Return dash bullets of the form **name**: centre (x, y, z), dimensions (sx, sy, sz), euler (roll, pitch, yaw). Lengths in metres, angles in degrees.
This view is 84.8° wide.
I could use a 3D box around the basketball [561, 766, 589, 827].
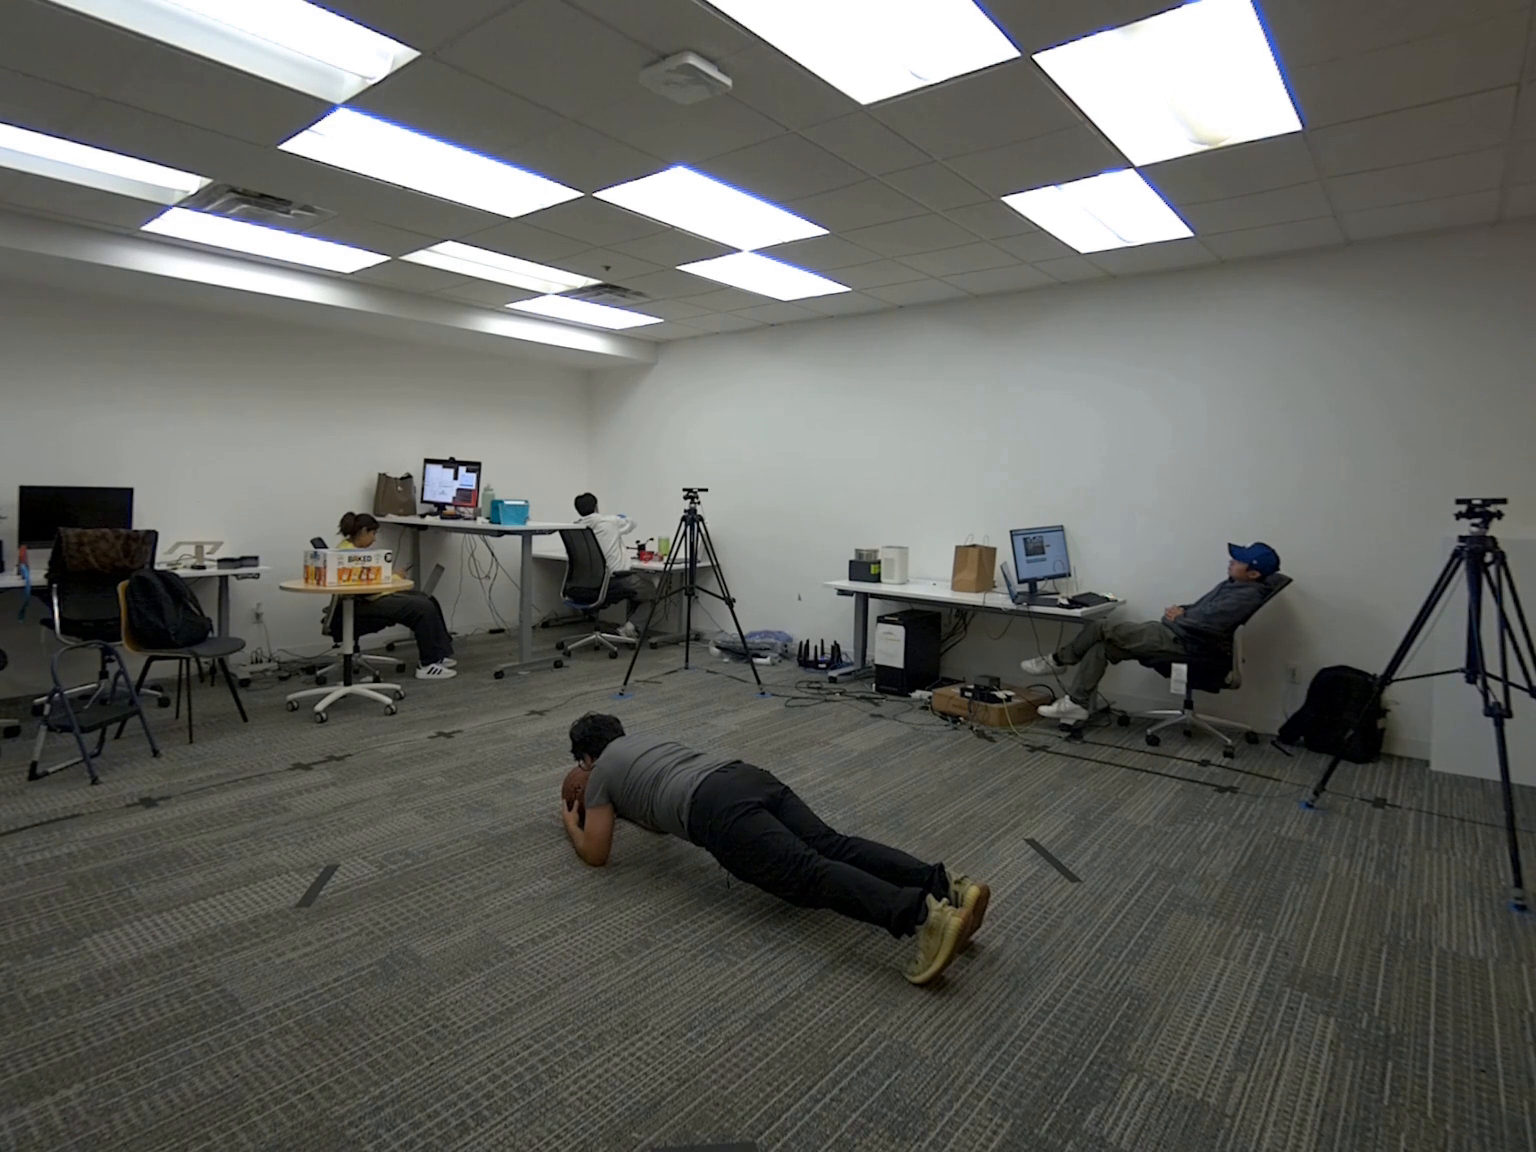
- **basketball**: centre (-0.751, 0.897, 3.543), dimensions (0.235, 0.235, 0.237), euler (1, 4, -2)
